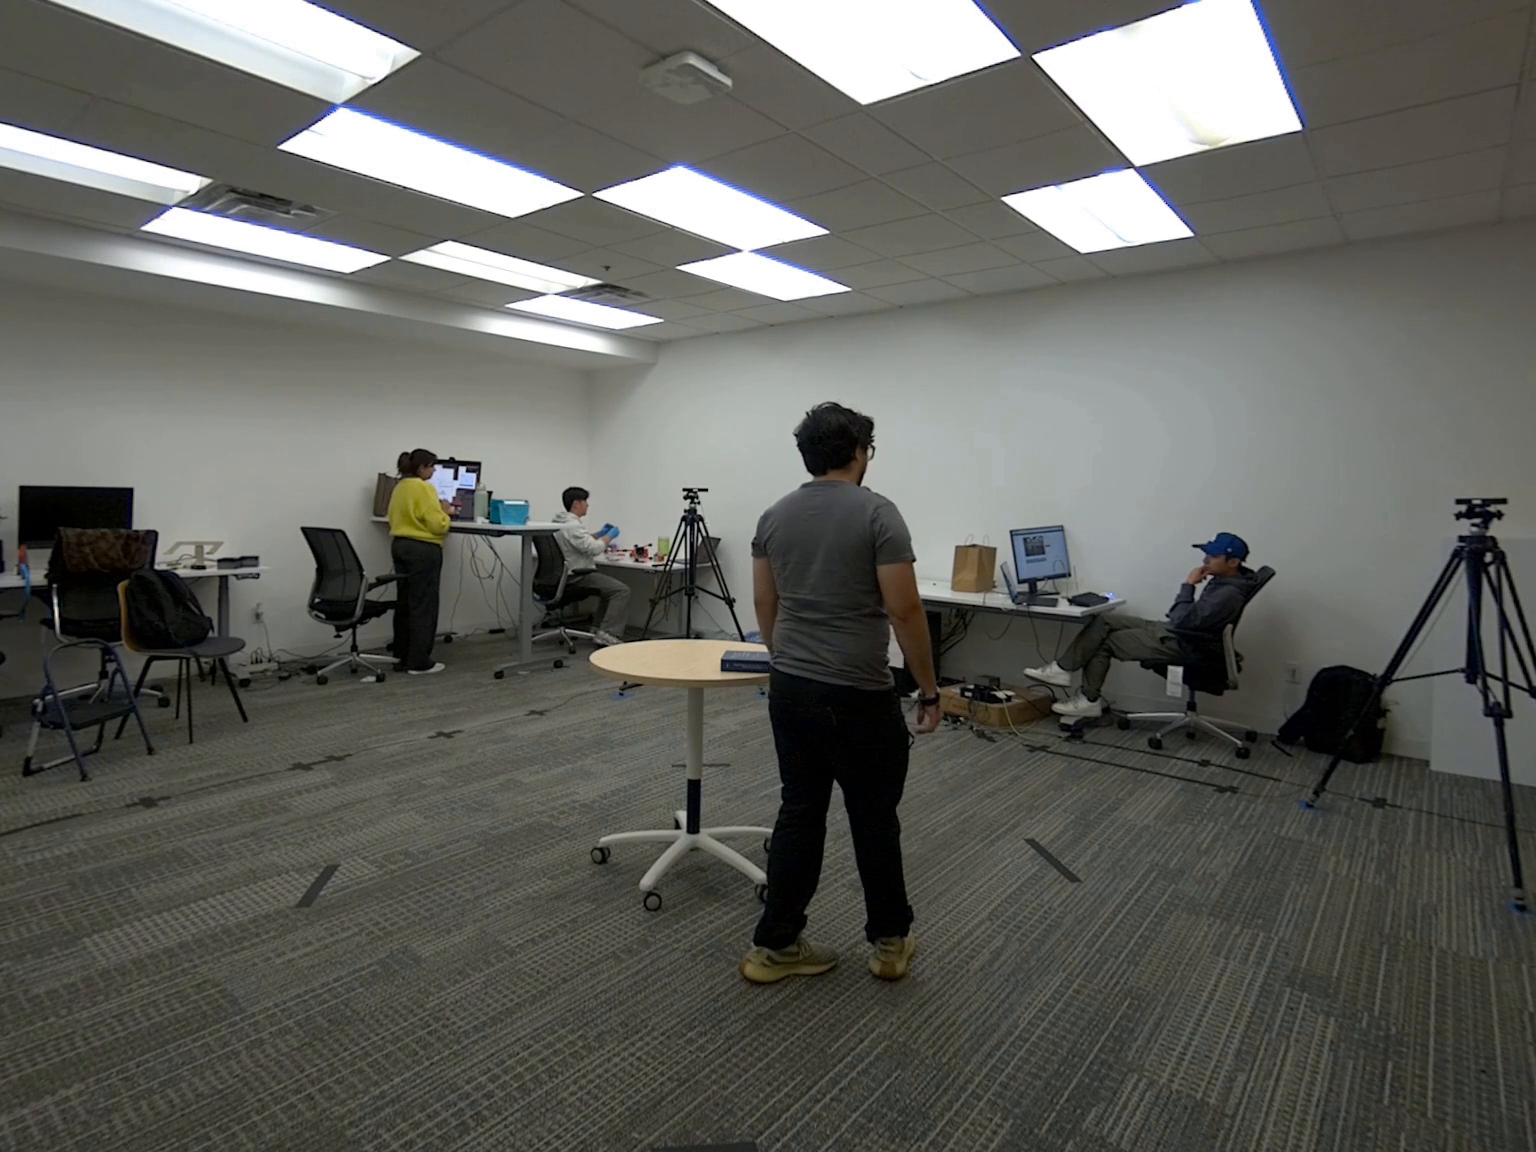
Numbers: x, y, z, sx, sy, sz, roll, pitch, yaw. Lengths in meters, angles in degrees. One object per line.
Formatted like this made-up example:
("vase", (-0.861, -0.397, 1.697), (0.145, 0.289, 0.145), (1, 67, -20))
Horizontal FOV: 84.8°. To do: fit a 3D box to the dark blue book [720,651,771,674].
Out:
("dark blue book", (-0.046, 0.289, 2.882), (0.247, 0.045, 0.162), (1, 5, 6))
